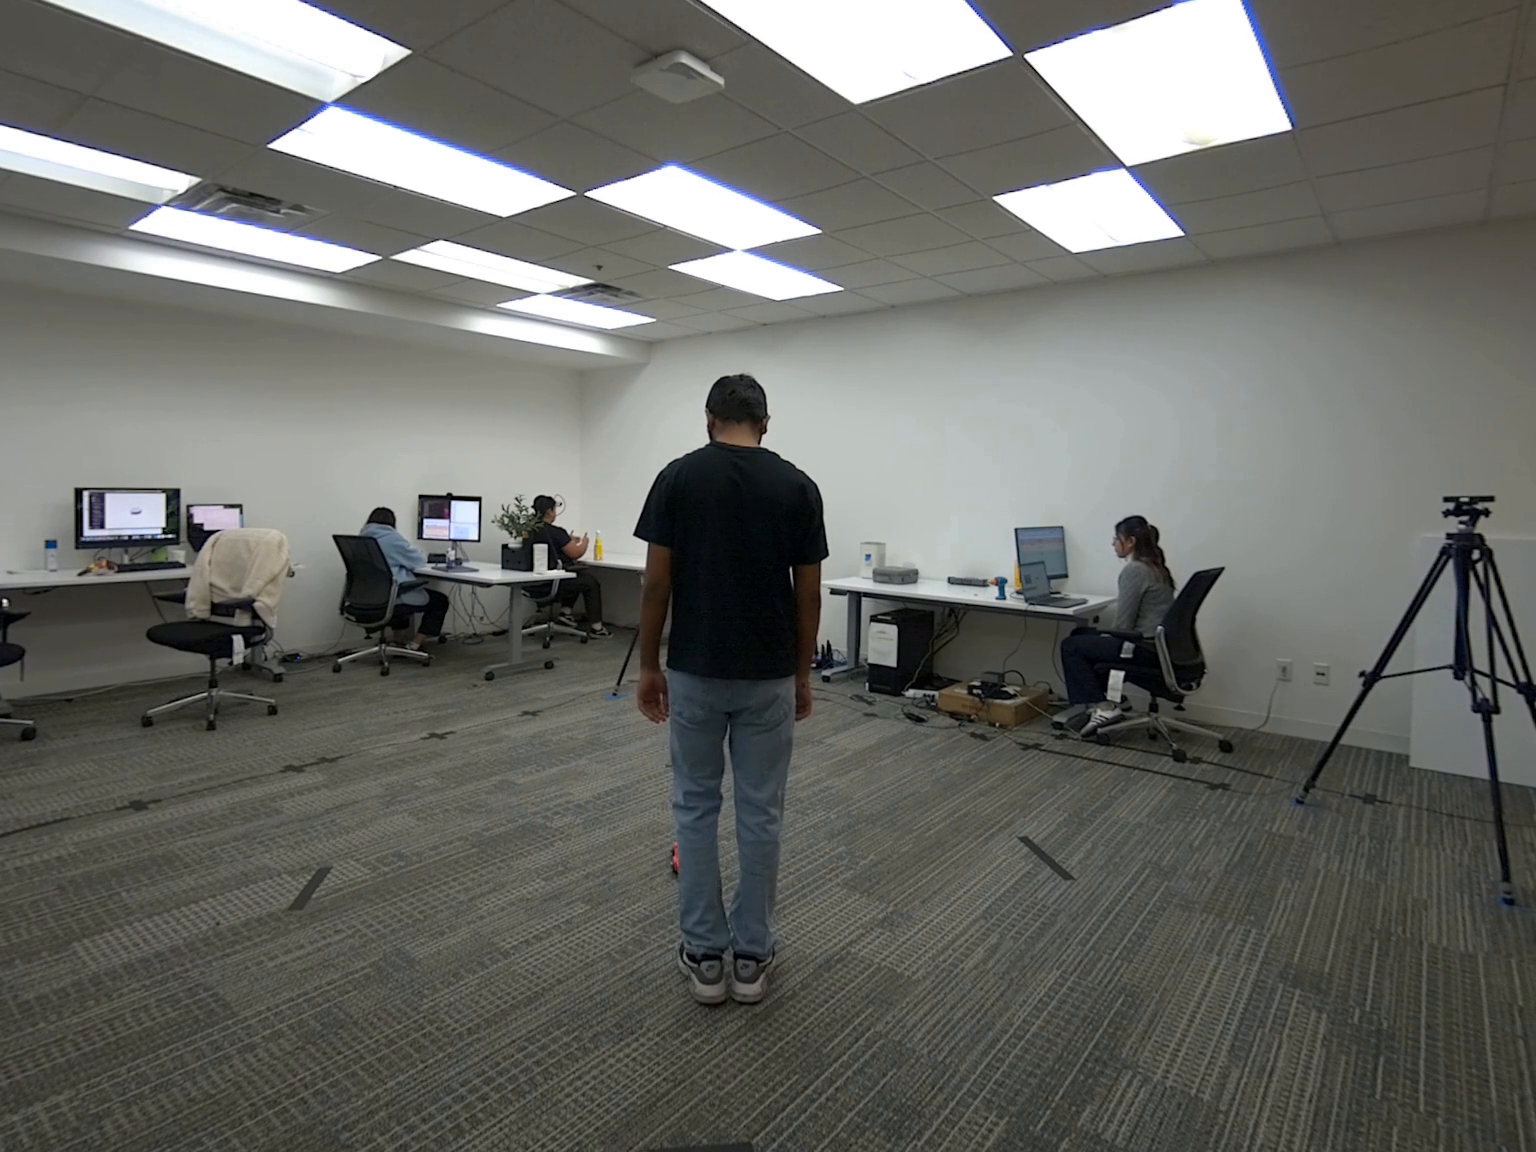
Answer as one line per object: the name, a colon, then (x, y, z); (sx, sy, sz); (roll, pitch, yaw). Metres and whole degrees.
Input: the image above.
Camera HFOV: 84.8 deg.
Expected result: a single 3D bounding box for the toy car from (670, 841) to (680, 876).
toy car: (-0.295, 1.027, 3.126); (0.130, 0.084, 0.254); (0, -6, -5)
